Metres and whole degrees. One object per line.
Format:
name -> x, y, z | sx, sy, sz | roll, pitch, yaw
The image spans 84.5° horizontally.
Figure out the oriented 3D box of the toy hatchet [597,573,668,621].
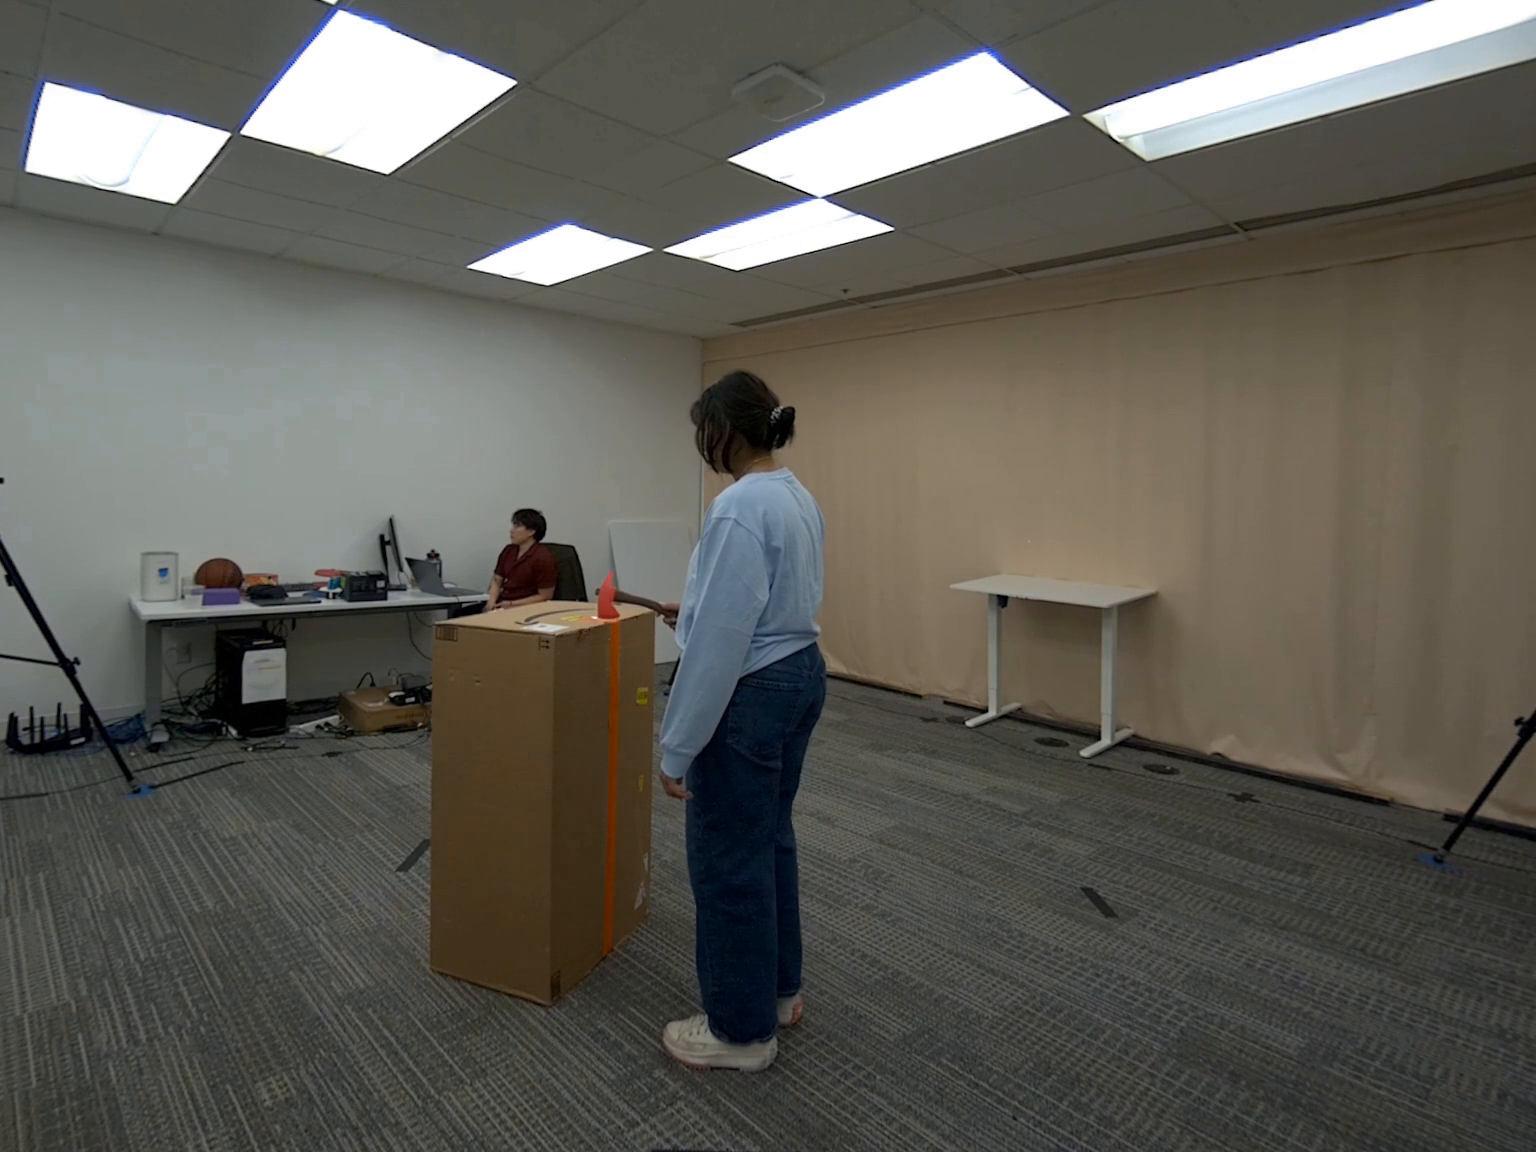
toy hatchet -> -0.375, 0.102, 2.315 | 0.268, 0.131, 0.029 | 32, -16, -5
